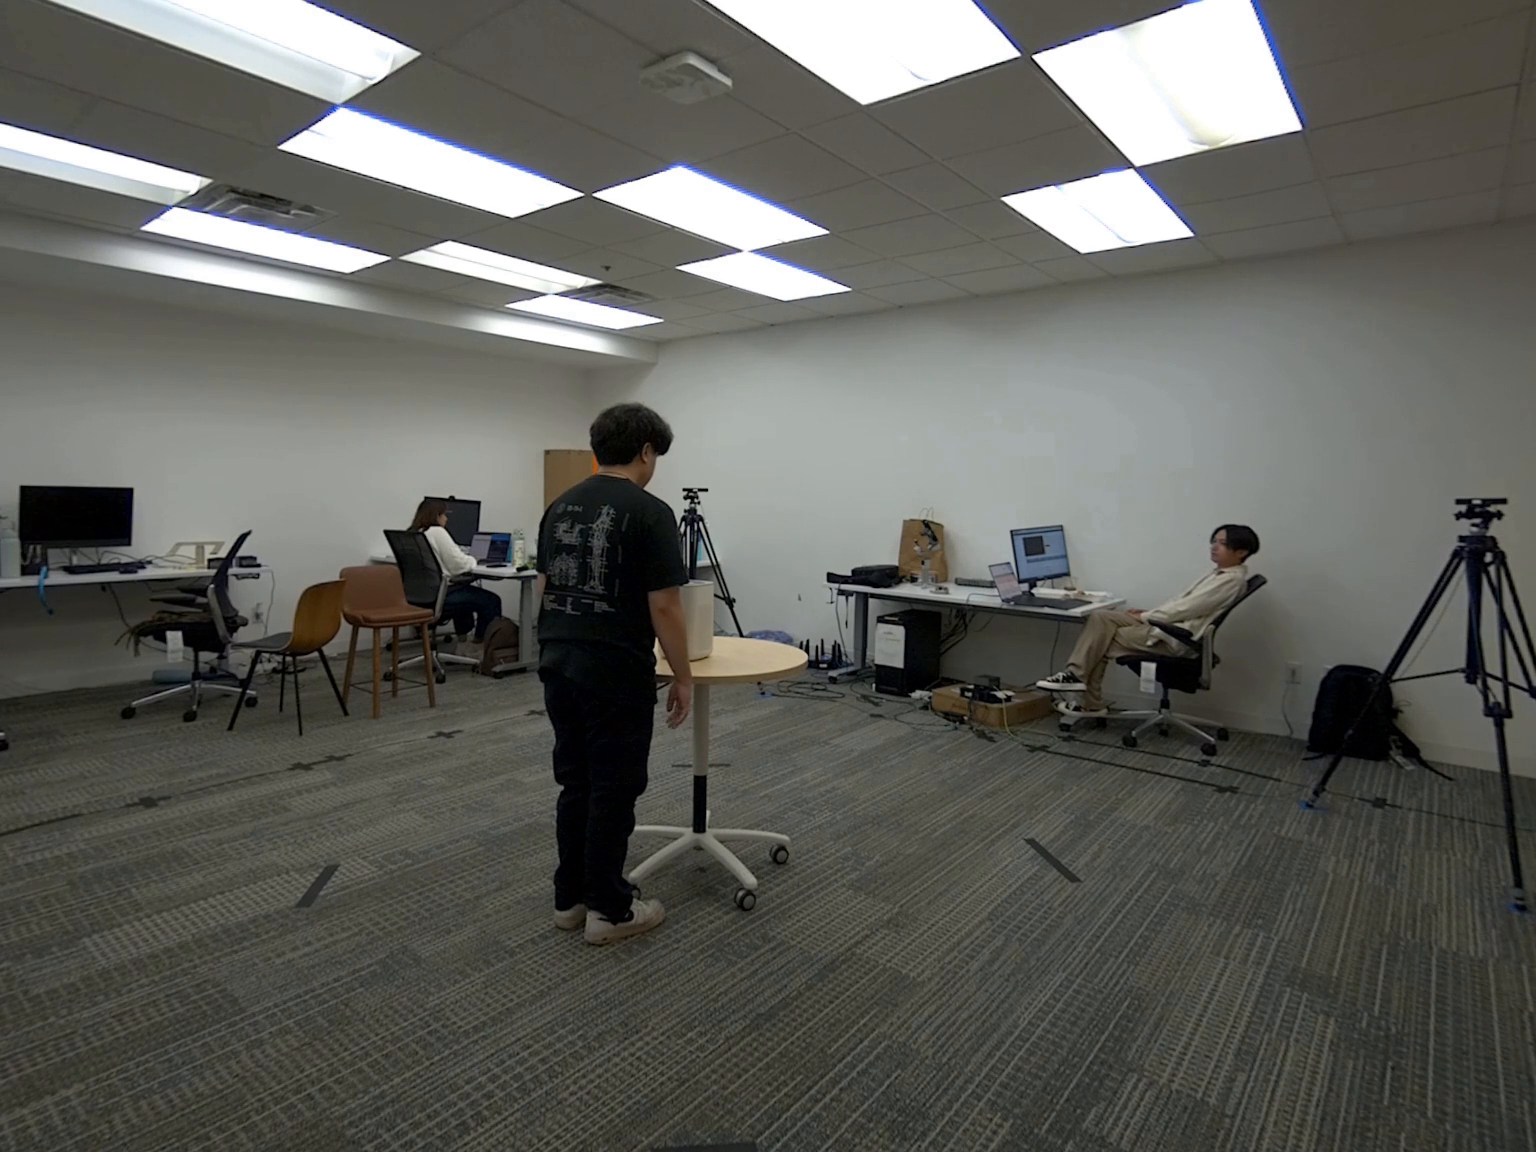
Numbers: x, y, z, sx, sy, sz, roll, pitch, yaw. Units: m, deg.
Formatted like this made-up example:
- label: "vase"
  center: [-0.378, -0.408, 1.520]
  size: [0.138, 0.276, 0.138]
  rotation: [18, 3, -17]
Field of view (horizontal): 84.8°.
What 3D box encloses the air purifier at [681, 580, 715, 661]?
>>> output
- label: "air purifier"
  center: [-0.299, 0.150, 3.006]
  size: [0.176, 0.265, 0.167]
  rotation: [2, 3, 27]
